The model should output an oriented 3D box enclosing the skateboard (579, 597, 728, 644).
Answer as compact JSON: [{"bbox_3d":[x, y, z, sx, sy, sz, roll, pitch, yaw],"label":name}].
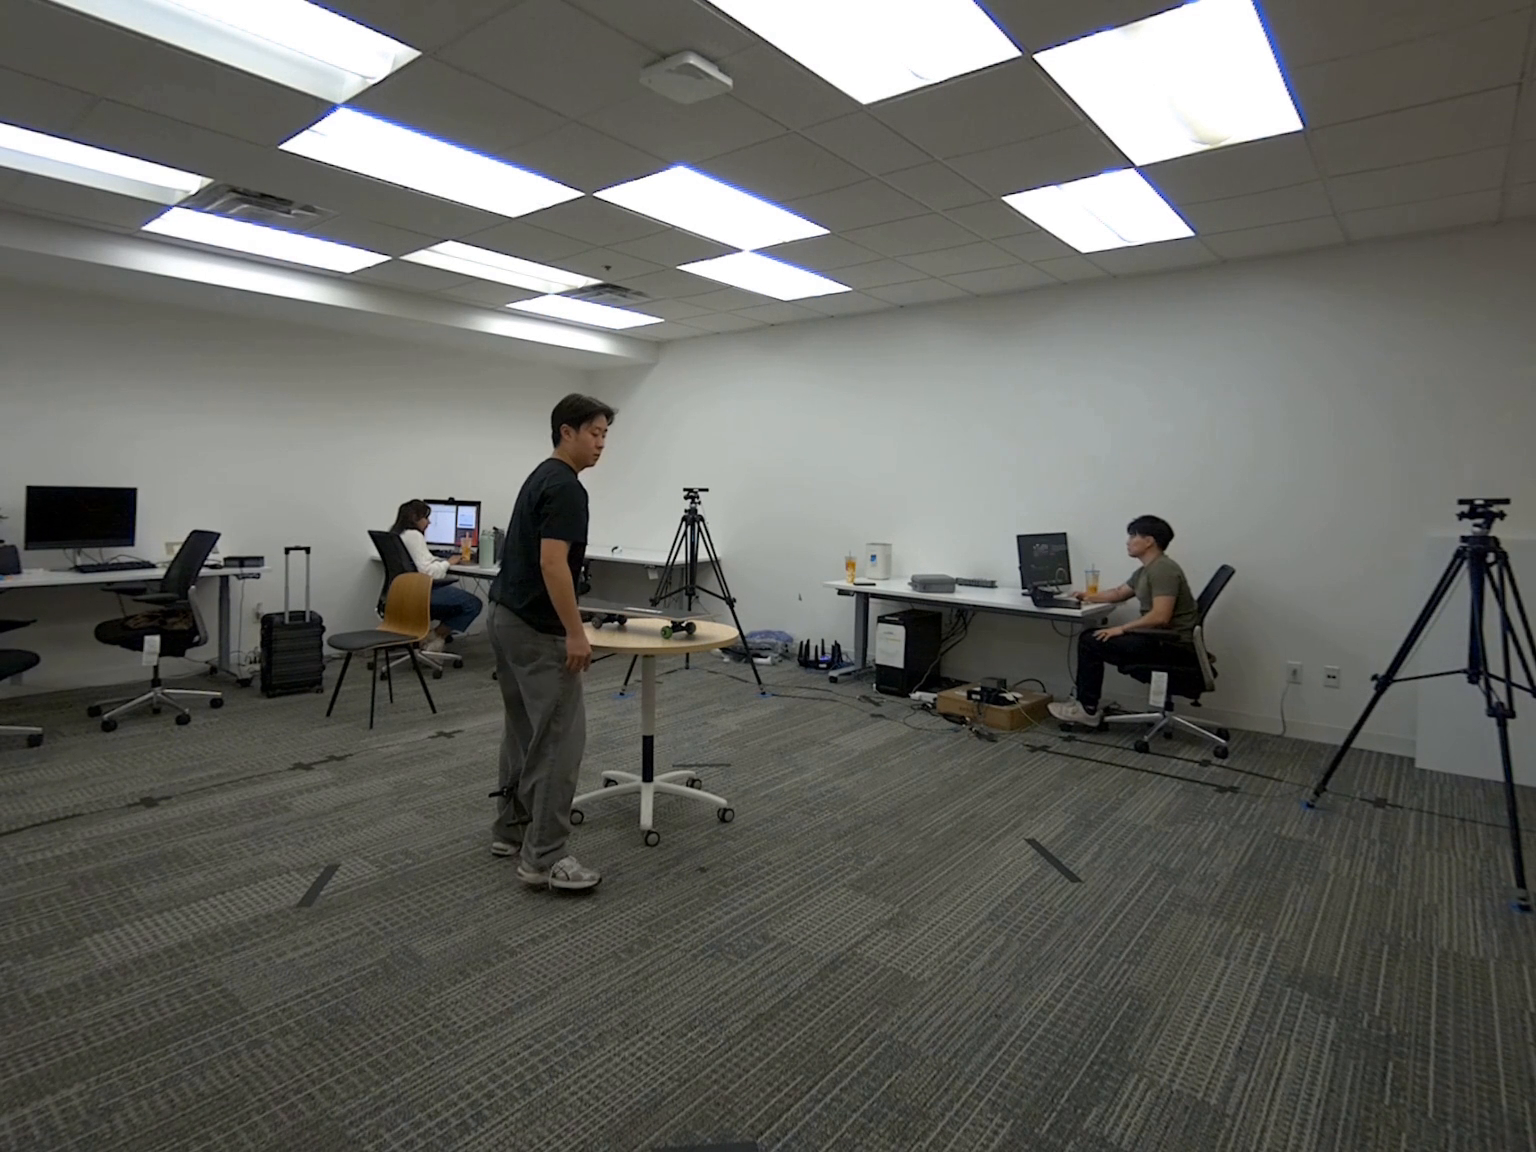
[{"bbox_3d":[-0.543,0.179,3.604,0.811,0.110,0.188,4,5,38],"label":"skateboard"}]
